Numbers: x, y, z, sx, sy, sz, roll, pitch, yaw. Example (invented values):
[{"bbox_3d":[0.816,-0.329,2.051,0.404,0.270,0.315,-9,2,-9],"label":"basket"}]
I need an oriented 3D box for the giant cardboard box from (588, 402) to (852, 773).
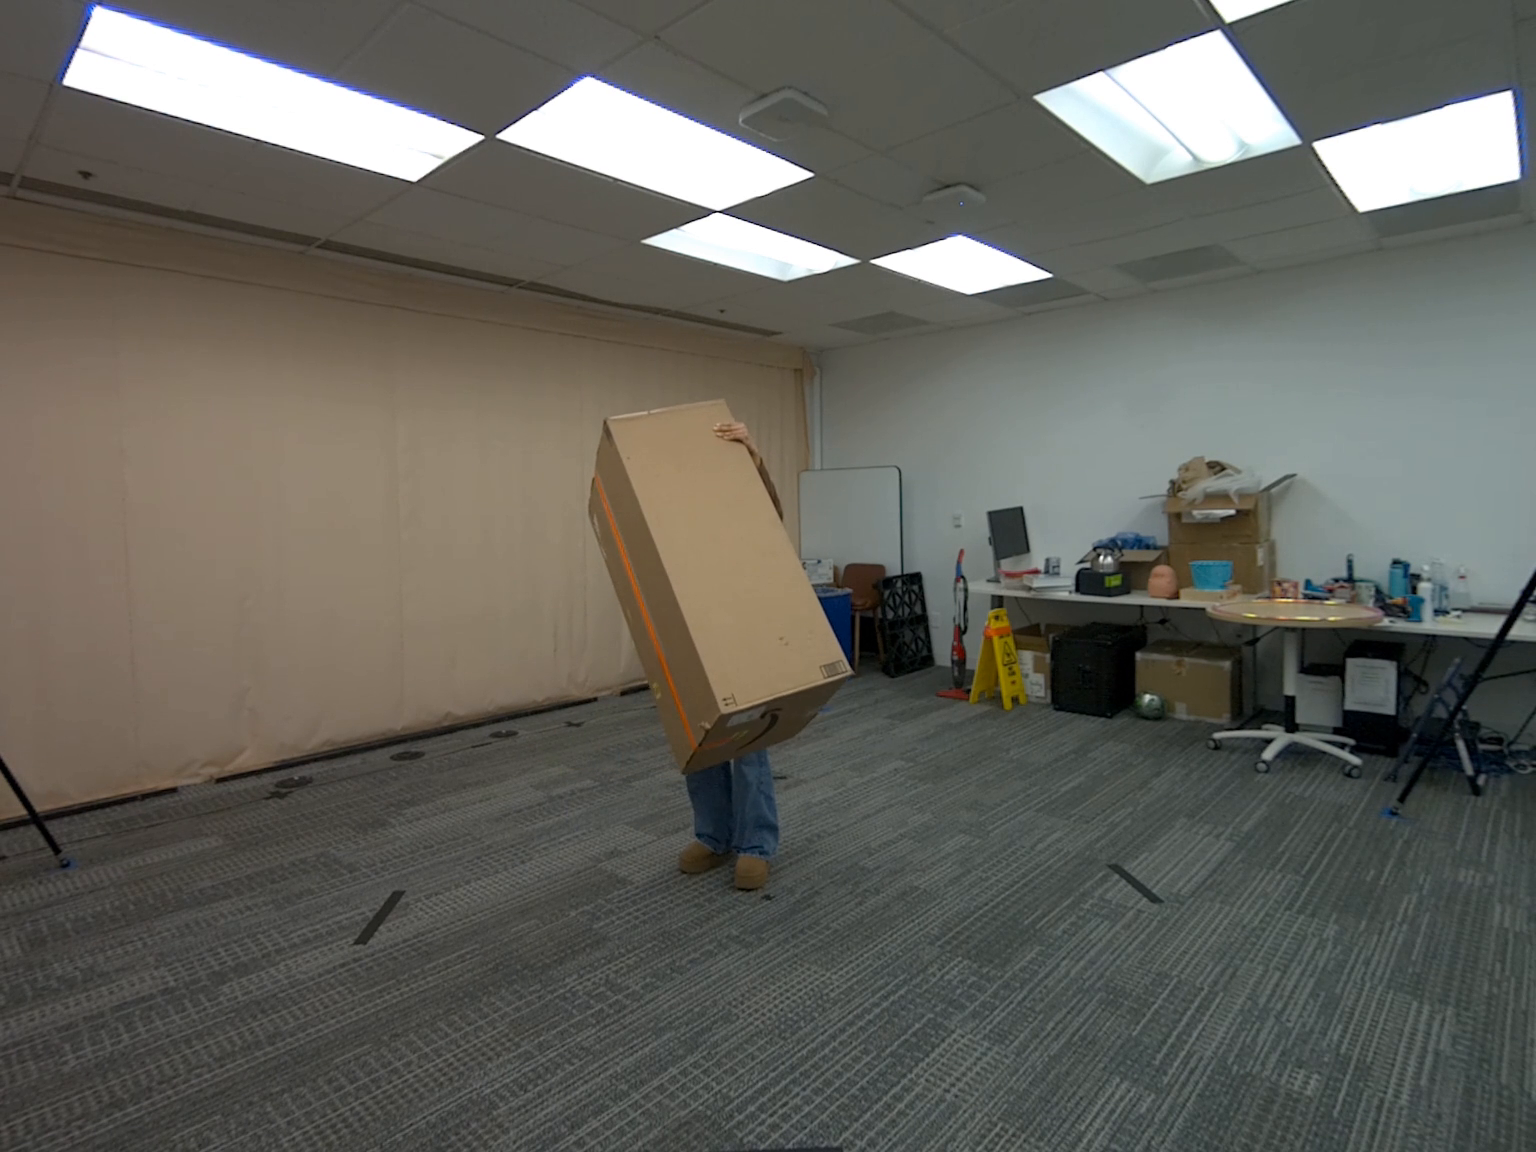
[{"bbox_3d":[-0.212,0.030,2.762,0.418,1.049,0.576,-14,-25,-24],"label":"giant cardboard box"}]
